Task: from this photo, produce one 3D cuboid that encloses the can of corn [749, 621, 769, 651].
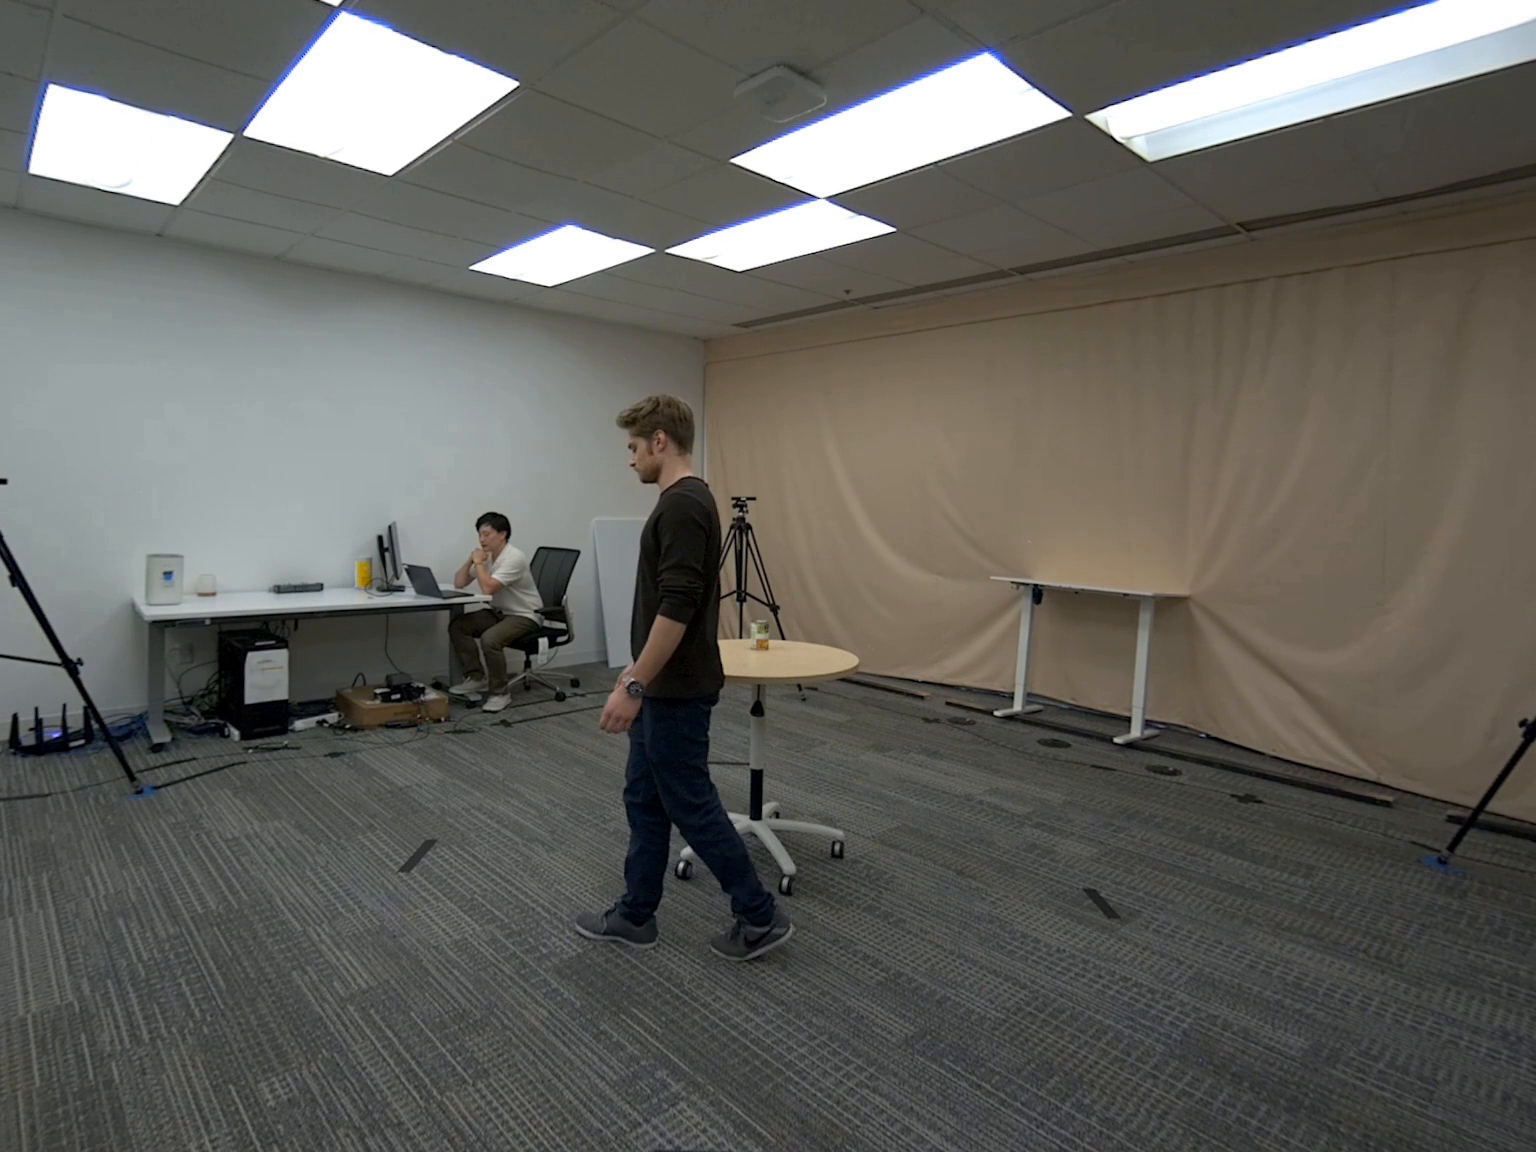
[{"bbox_3d":[-0.042,0.240,3.416,0.074,0.111,0.074,2,4,-2],"label":"can of corn"}]
